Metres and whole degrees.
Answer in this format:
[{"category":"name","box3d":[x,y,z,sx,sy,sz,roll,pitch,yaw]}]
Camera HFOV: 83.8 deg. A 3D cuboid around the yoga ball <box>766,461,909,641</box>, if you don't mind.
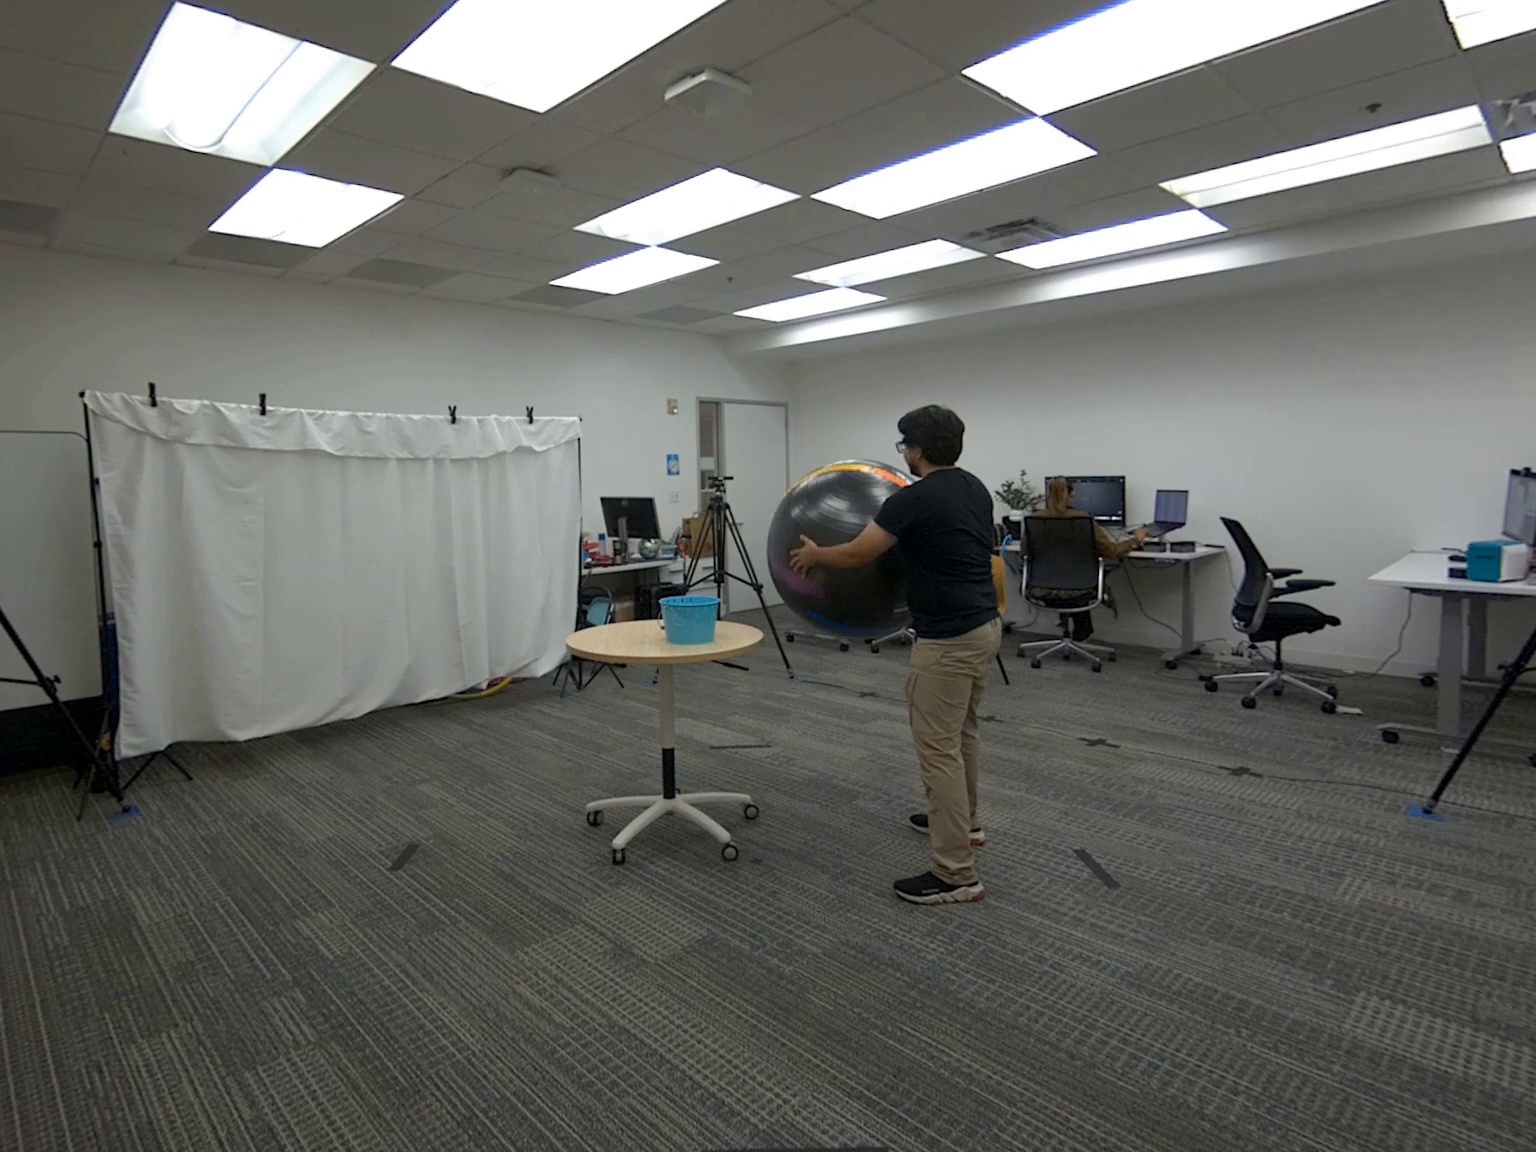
[{"category":"yoga ball","box3d":[0.379,-0.110,3.634,0.757,0.755,0.762,-1,5,-2]}]
